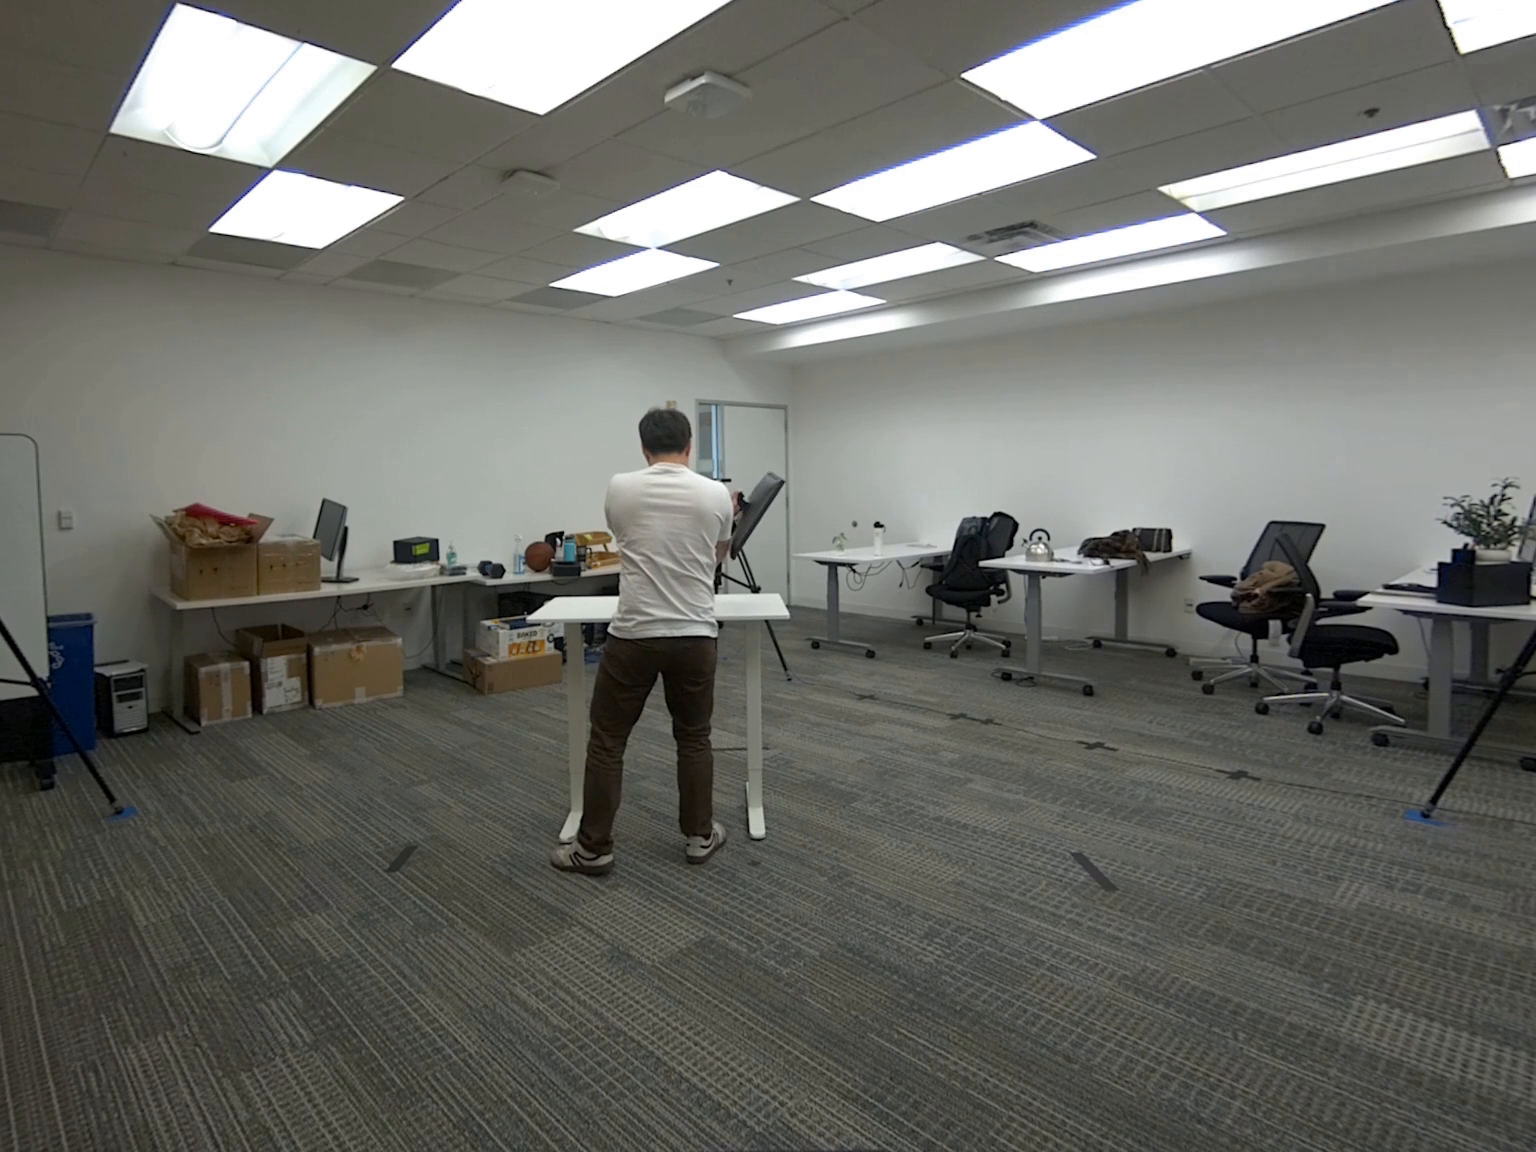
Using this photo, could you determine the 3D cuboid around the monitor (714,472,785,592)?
[{"bbox_3d":[-0.150,-0.210,3.431,0.523,0.184,0.546,-44,12,5],"label":"monitor"}]
